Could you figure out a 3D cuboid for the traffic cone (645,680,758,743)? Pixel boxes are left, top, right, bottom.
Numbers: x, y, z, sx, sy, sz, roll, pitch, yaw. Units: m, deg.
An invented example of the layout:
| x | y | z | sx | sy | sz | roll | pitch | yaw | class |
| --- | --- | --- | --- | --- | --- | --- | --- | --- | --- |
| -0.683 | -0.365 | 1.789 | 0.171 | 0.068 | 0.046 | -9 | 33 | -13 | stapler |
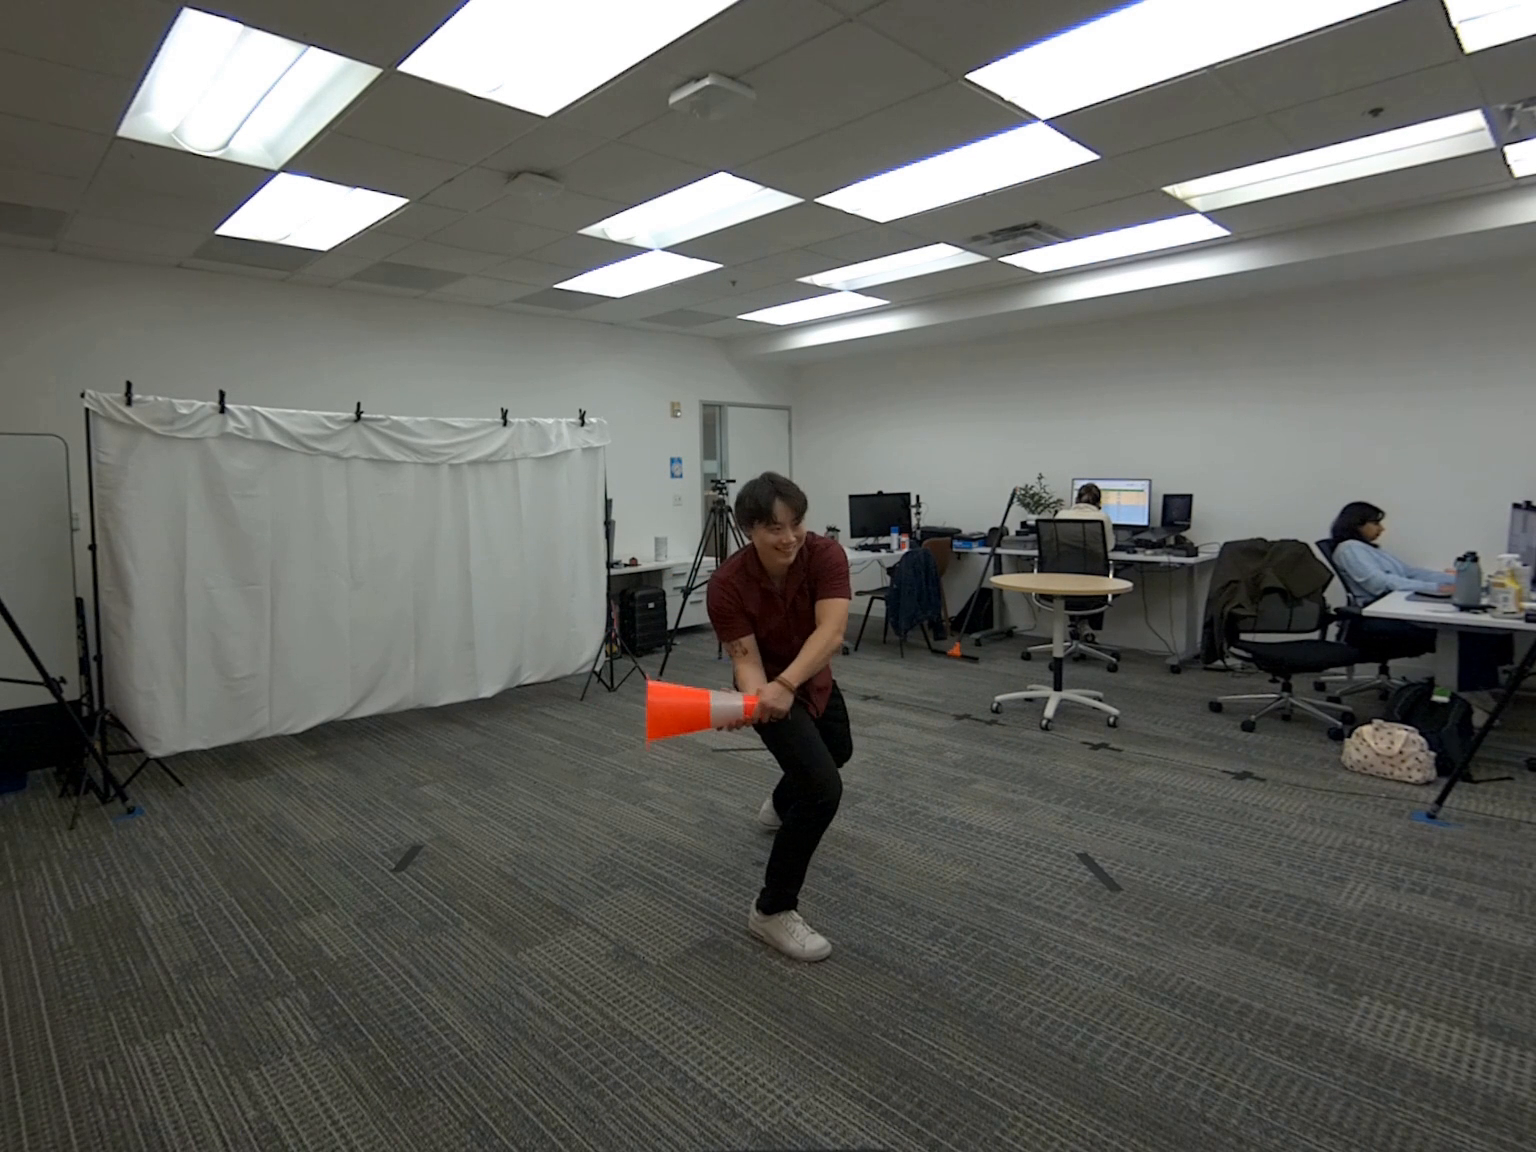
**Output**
| x | y | z | sx | sy | sz | roll | pitch | yaw | class |
| --- | --- | --- | --- | --- | --- | --- | --- | --- | --- |
| -0.128 | 0.352 | 2.297 | 0.383 | 0.205 | 0.203 | -1 | -2 | -2 | traffic cone |
